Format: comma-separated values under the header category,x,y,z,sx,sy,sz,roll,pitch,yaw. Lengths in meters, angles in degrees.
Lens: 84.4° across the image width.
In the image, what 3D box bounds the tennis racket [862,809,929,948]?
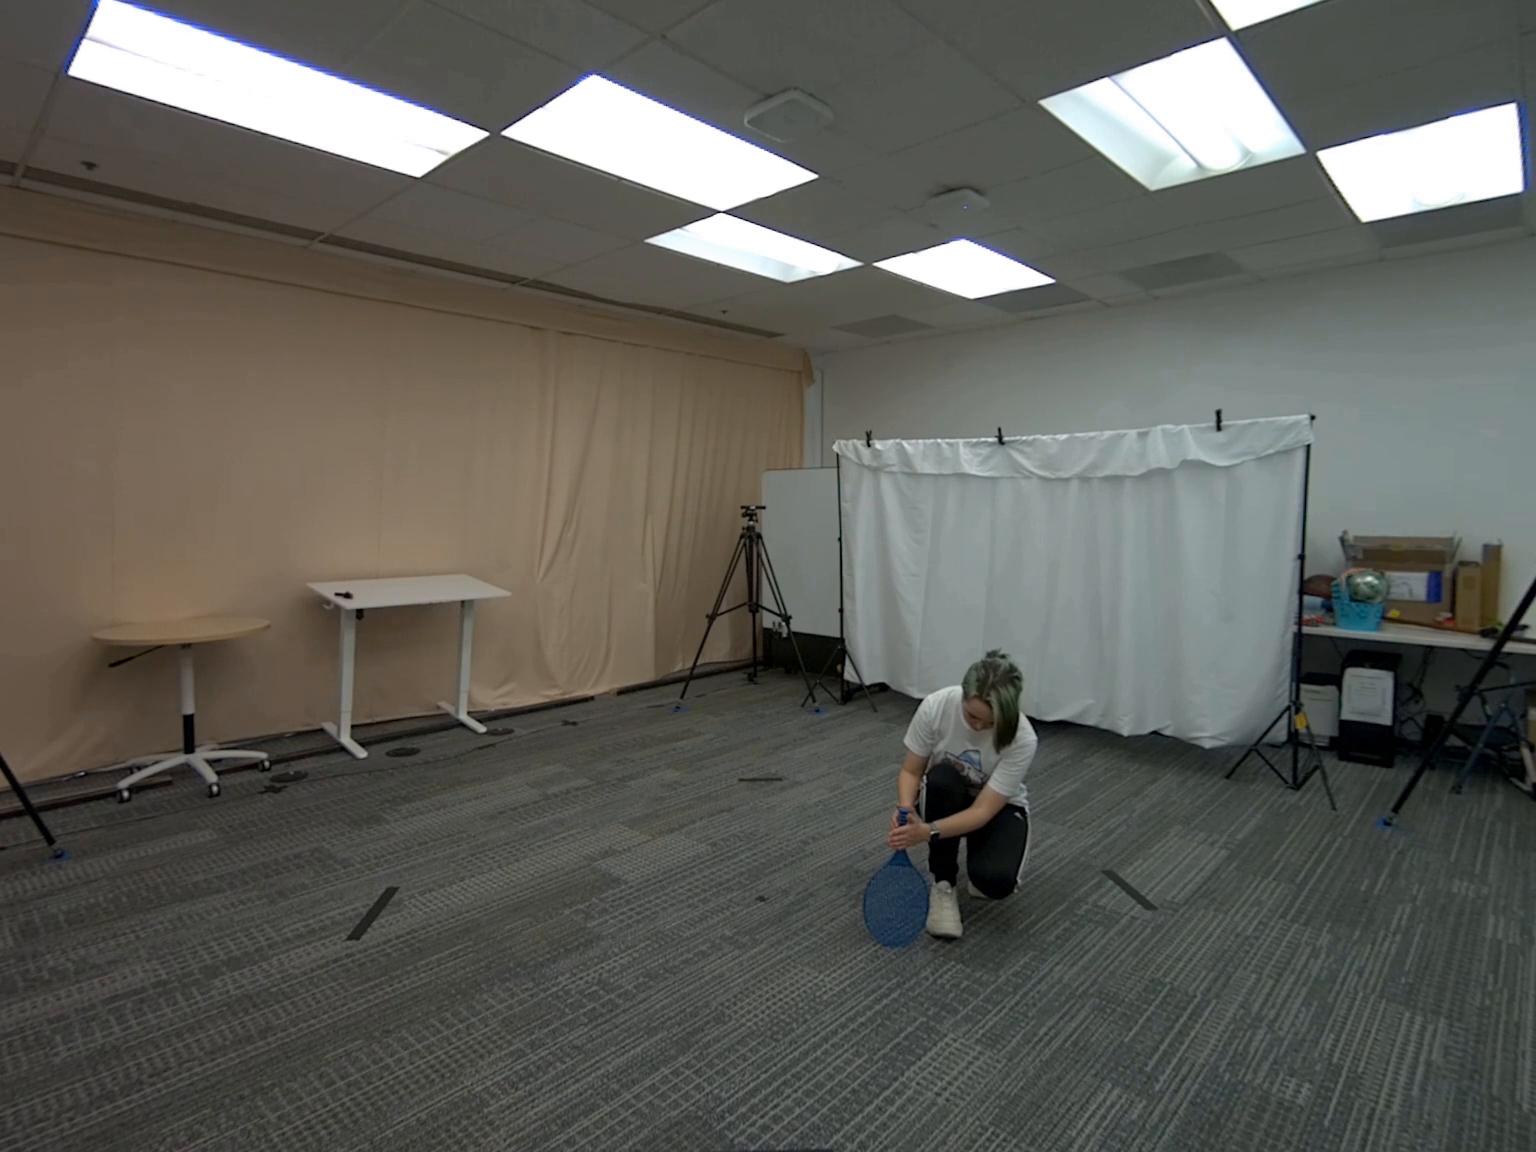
category,x,y,z,sx,sy,sz,roll,pitch,yaw
tennis racket,0.417,0.958,2.660,0.214,0.433,0.032,5,-1,2
